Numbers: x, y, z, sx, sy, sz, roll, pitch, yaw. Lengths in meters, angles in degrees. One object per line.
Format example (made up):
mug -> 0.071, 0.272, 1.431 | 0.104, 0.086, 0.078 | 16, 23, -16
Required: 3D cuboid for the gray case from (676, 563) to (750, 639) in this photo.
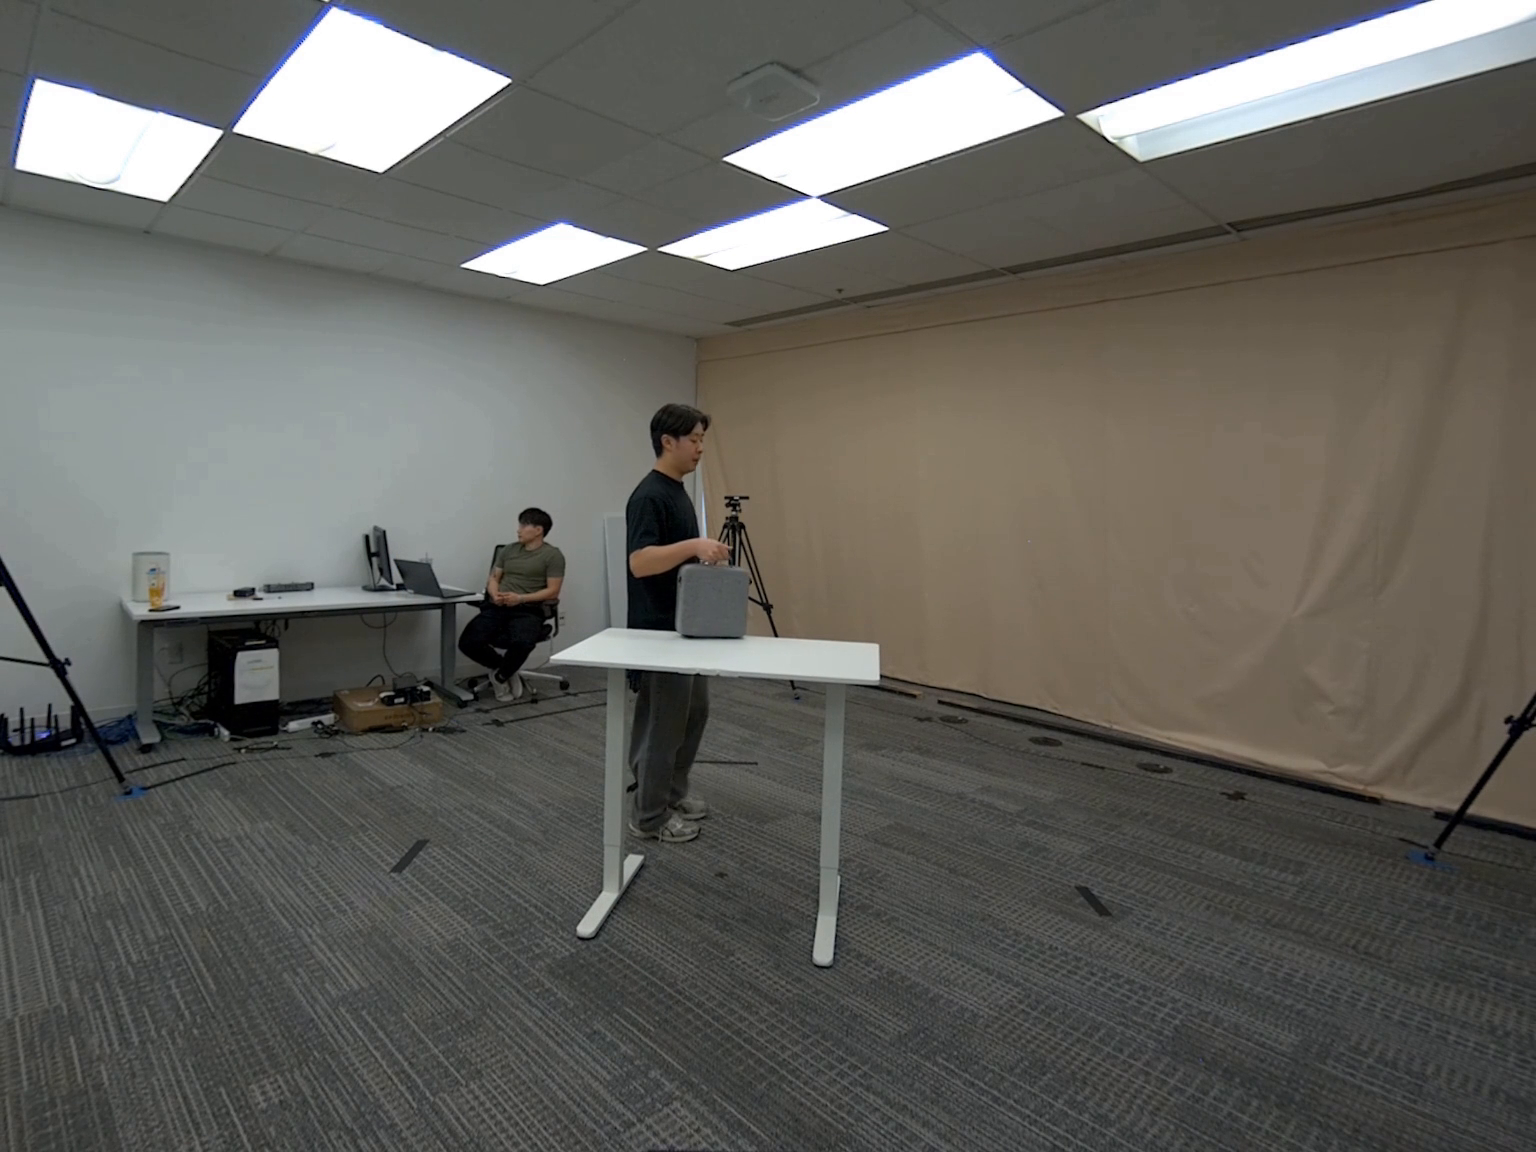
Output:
gray case -> -0.203, 0.077, 3.032 | 0.261, 0.287, 0.104 | 3, 2, -10
